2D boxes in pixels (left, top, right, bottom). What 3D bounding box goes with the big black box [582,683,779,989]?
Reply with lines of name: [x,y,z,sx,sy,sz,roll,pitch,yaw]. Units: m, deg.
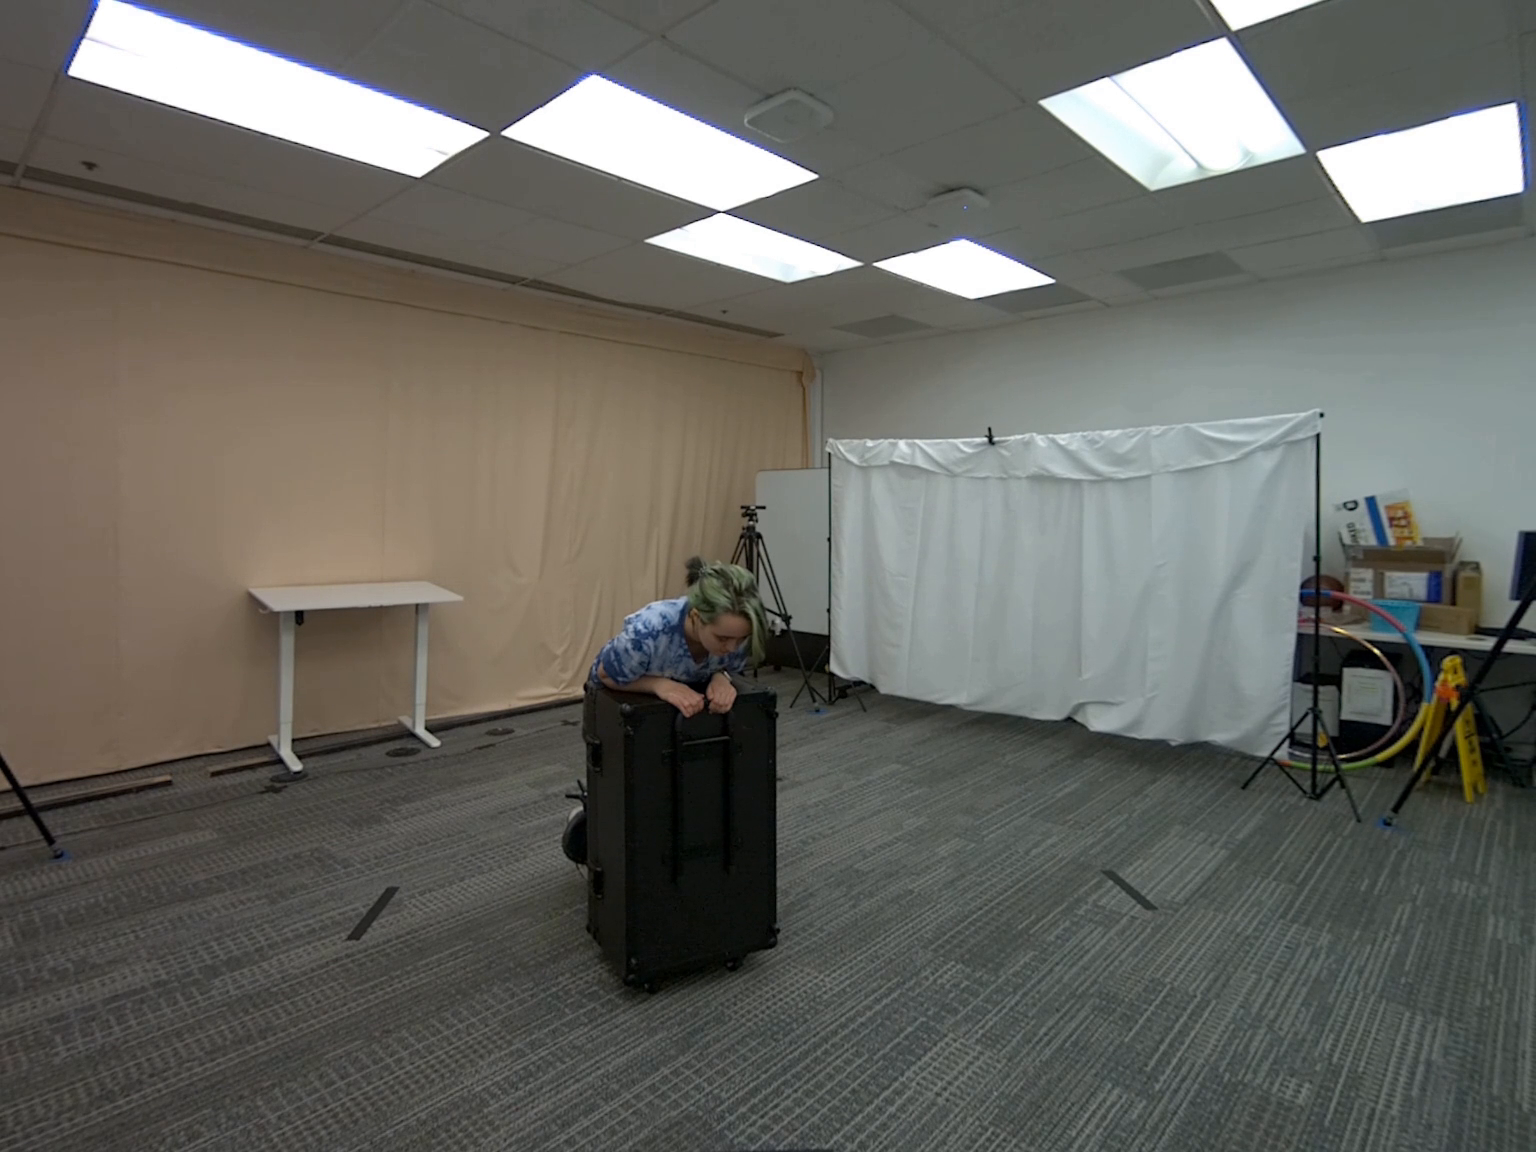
big black box: [-0.258,0.705,2.541,0.508,0.859,0.407,-2,4,-28]
